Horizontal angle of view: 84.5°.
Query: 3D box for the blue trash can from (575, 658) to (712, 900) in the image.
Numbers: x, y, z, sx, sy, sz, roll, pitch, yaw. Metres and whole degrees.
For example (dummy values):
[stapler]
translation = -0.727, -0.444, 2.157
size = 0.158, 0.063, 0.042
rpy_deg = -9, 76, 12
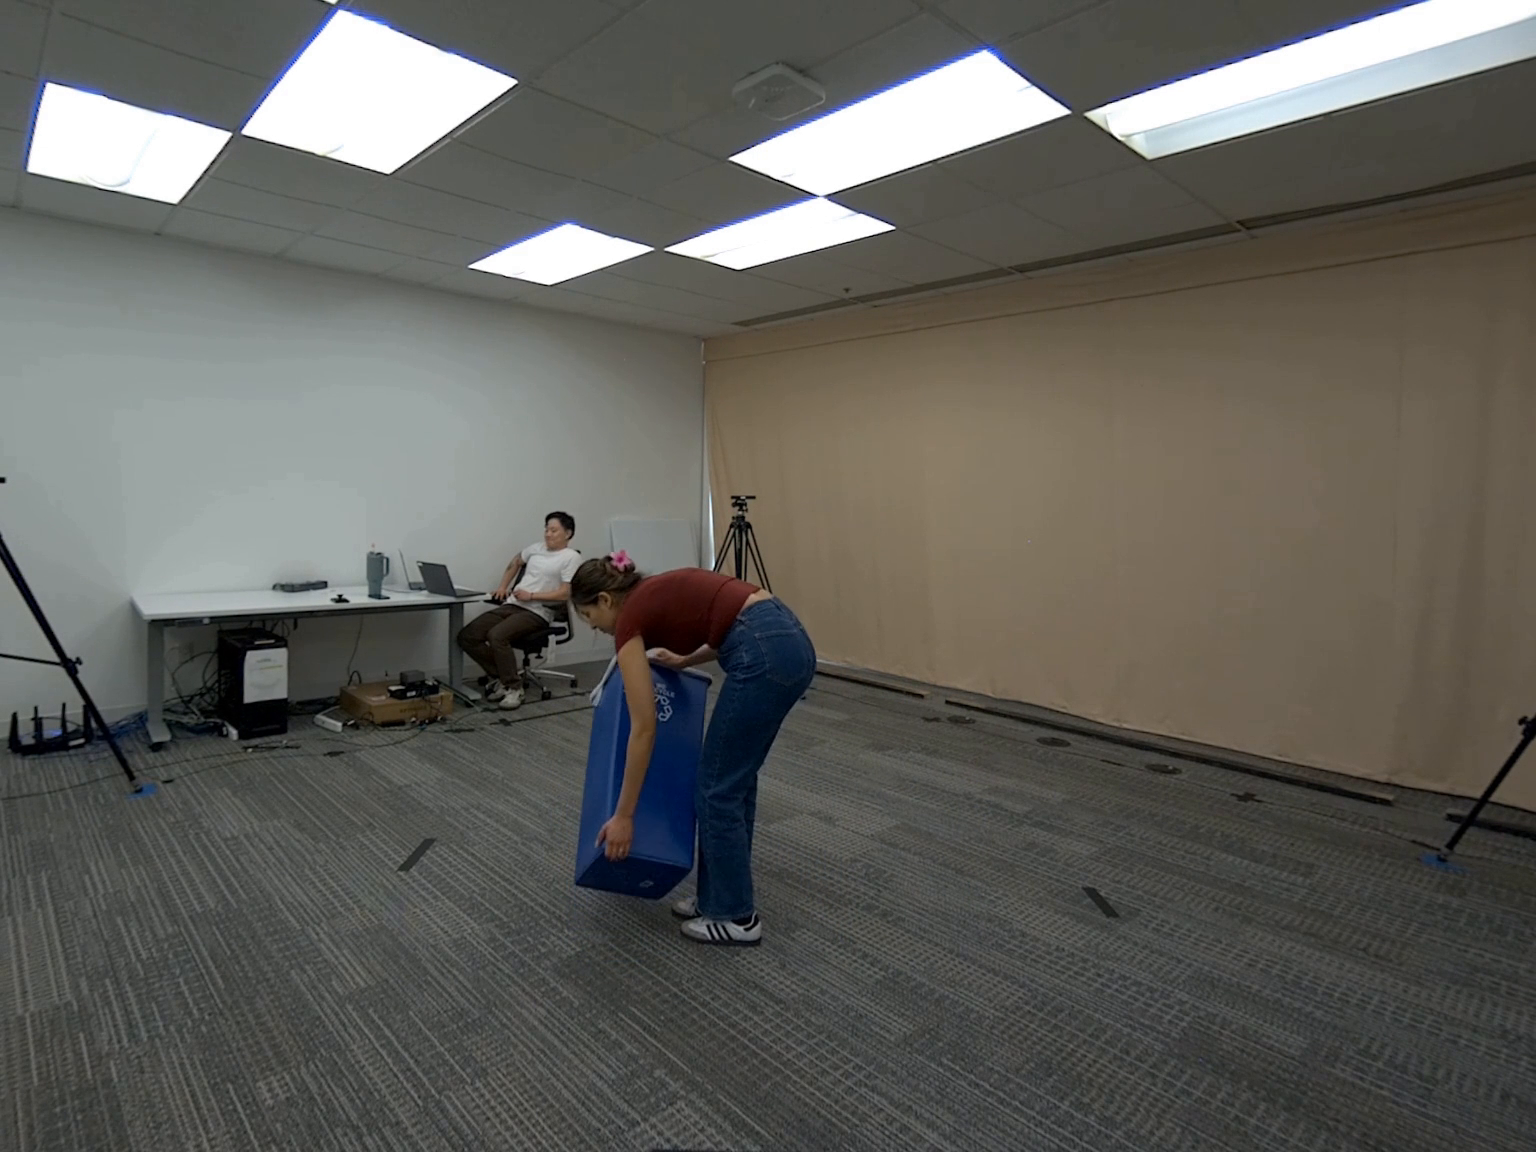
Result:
[blue trash can]
translation = -0.434, 0.680, 2.913
size = 0.367, 0.729, 0.376
rpy_deg = 18, -44, -20
